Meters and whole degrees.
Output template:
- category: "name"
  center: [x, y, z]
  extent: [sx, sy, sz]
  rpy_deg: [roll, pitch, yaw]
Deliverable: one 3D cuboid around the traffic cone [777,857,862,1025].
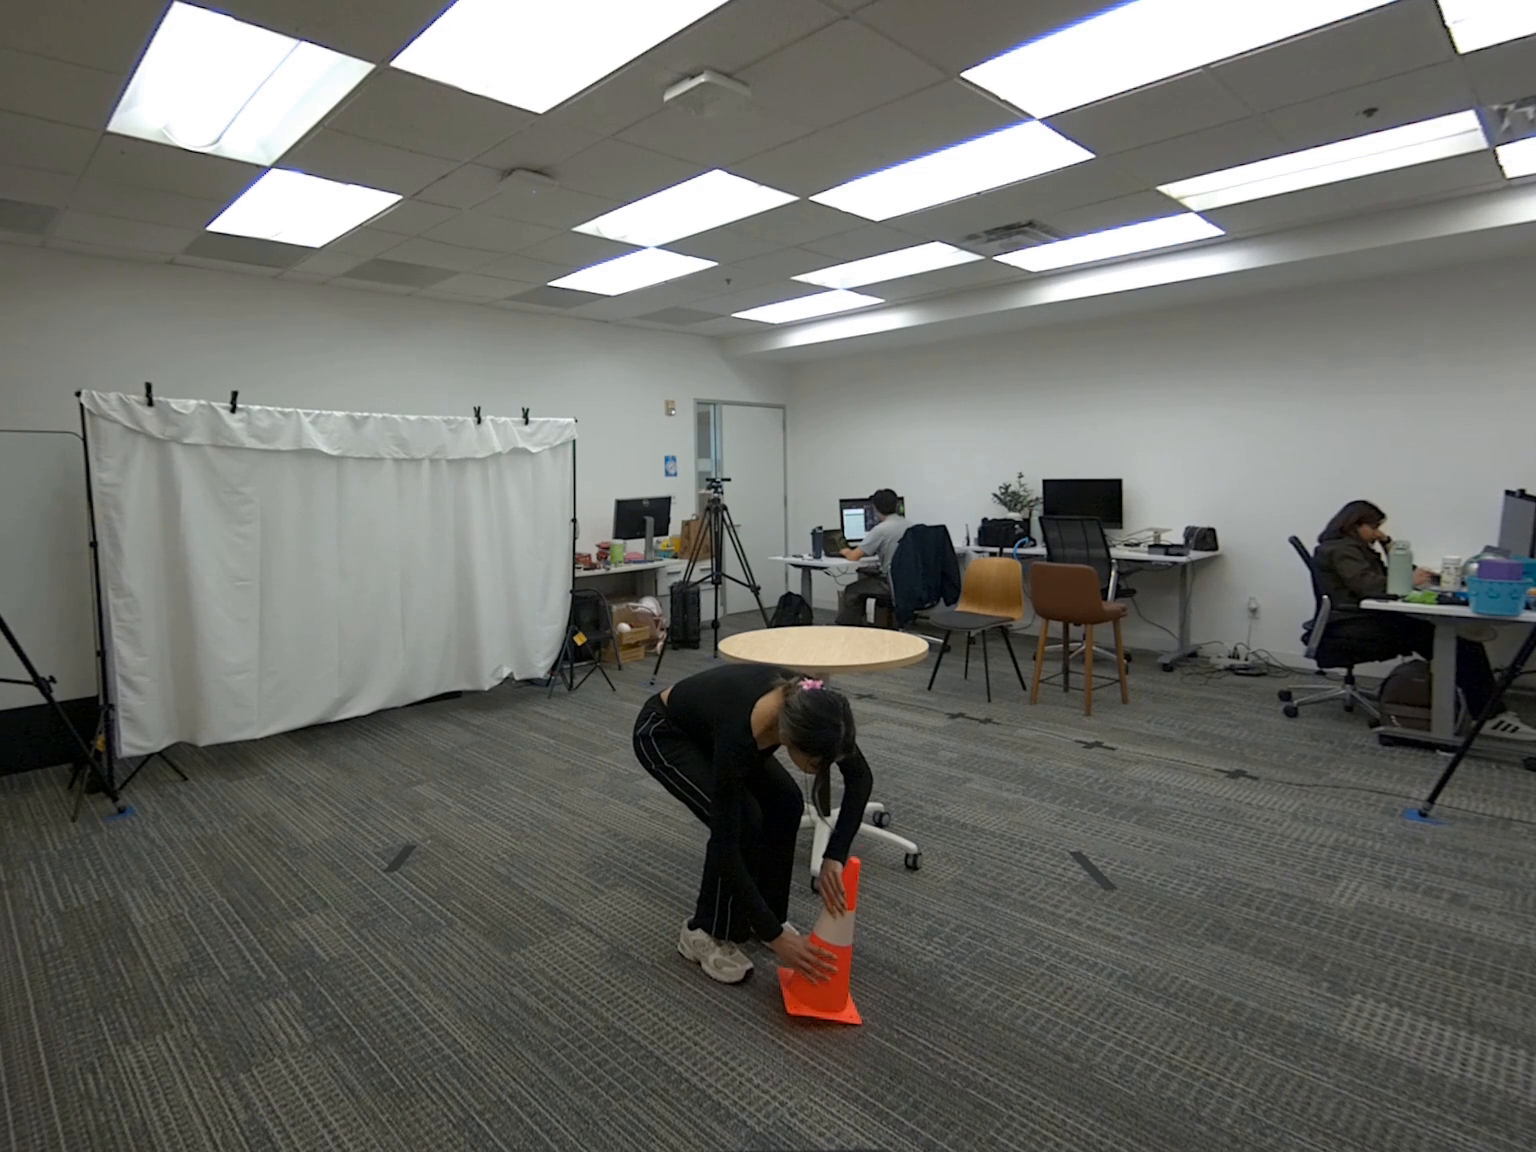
- category: "traffic cone"
  center: [0.193, 0.941, 2.256]
  extent: [0.202, 0.383, 0.206]
  rpy_deg: [15, 1, -6]
